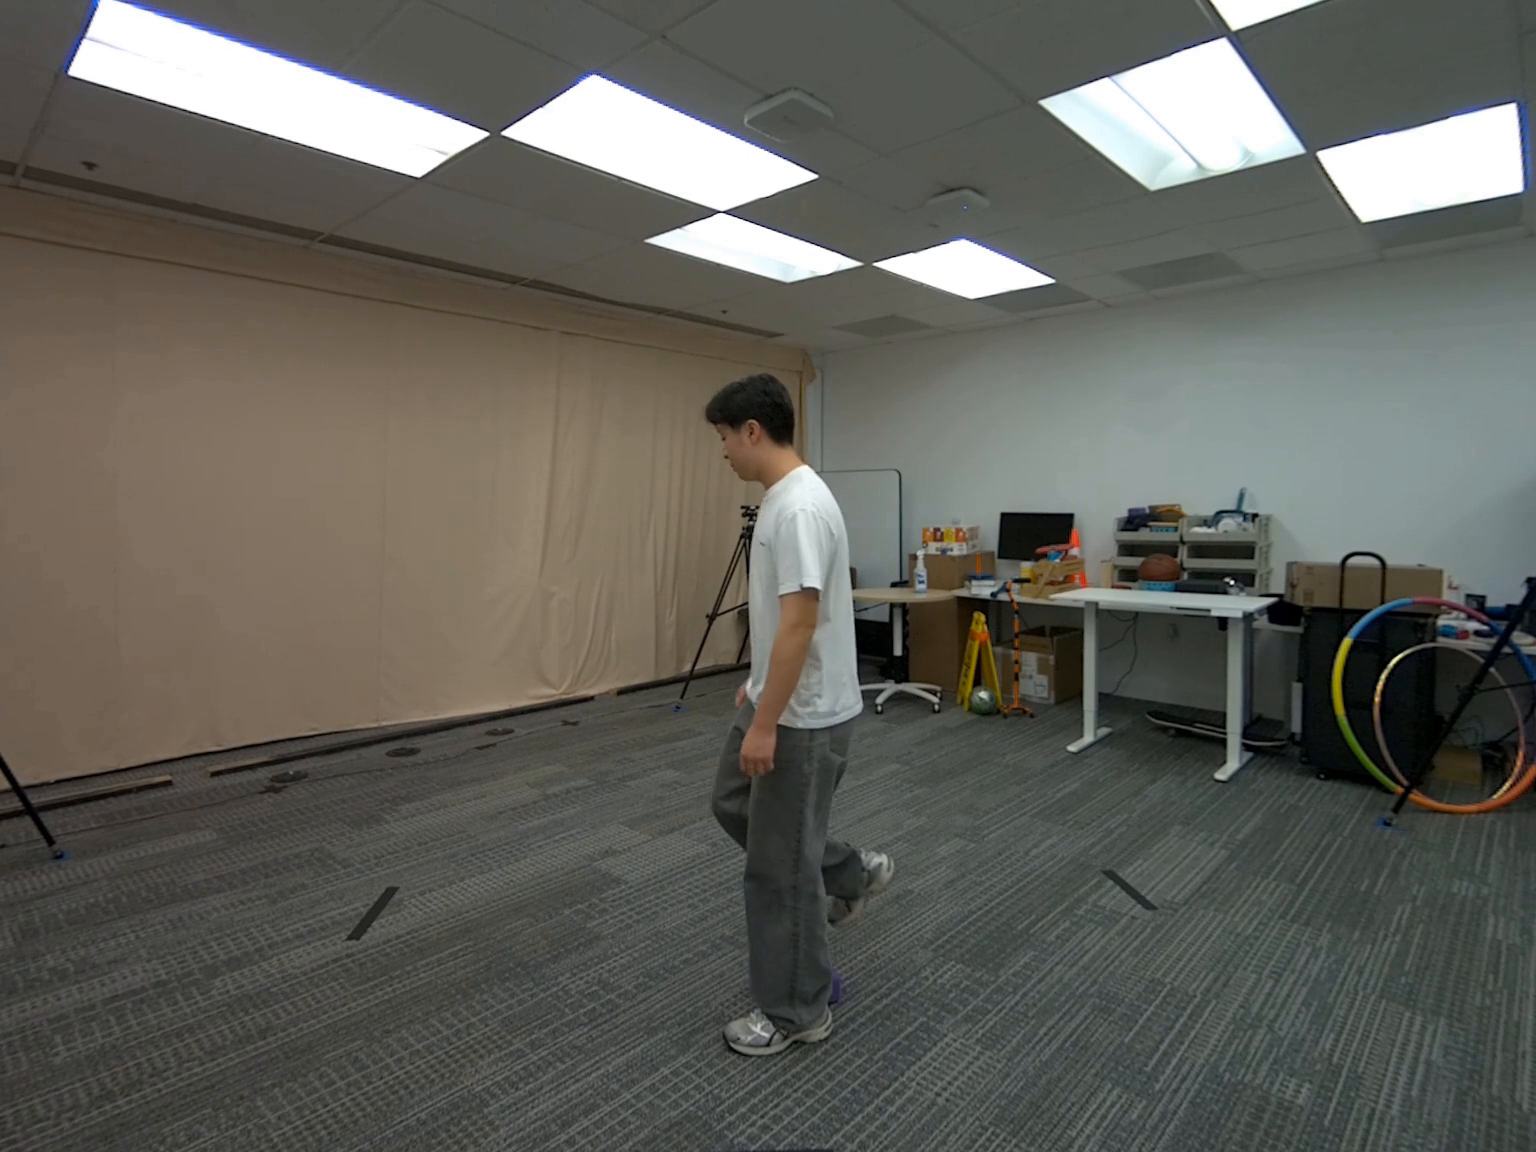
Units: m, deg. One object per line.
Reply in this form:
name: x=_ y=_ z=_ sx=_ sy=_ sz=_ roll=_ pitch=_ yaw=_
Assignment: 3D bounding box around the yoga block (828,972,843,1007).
yoga block: x=0.089 y=1.153 z=2.392 sx=0.225 sy=0.076 sz=0.152 roll=0 pitch=5 yaw=-16
